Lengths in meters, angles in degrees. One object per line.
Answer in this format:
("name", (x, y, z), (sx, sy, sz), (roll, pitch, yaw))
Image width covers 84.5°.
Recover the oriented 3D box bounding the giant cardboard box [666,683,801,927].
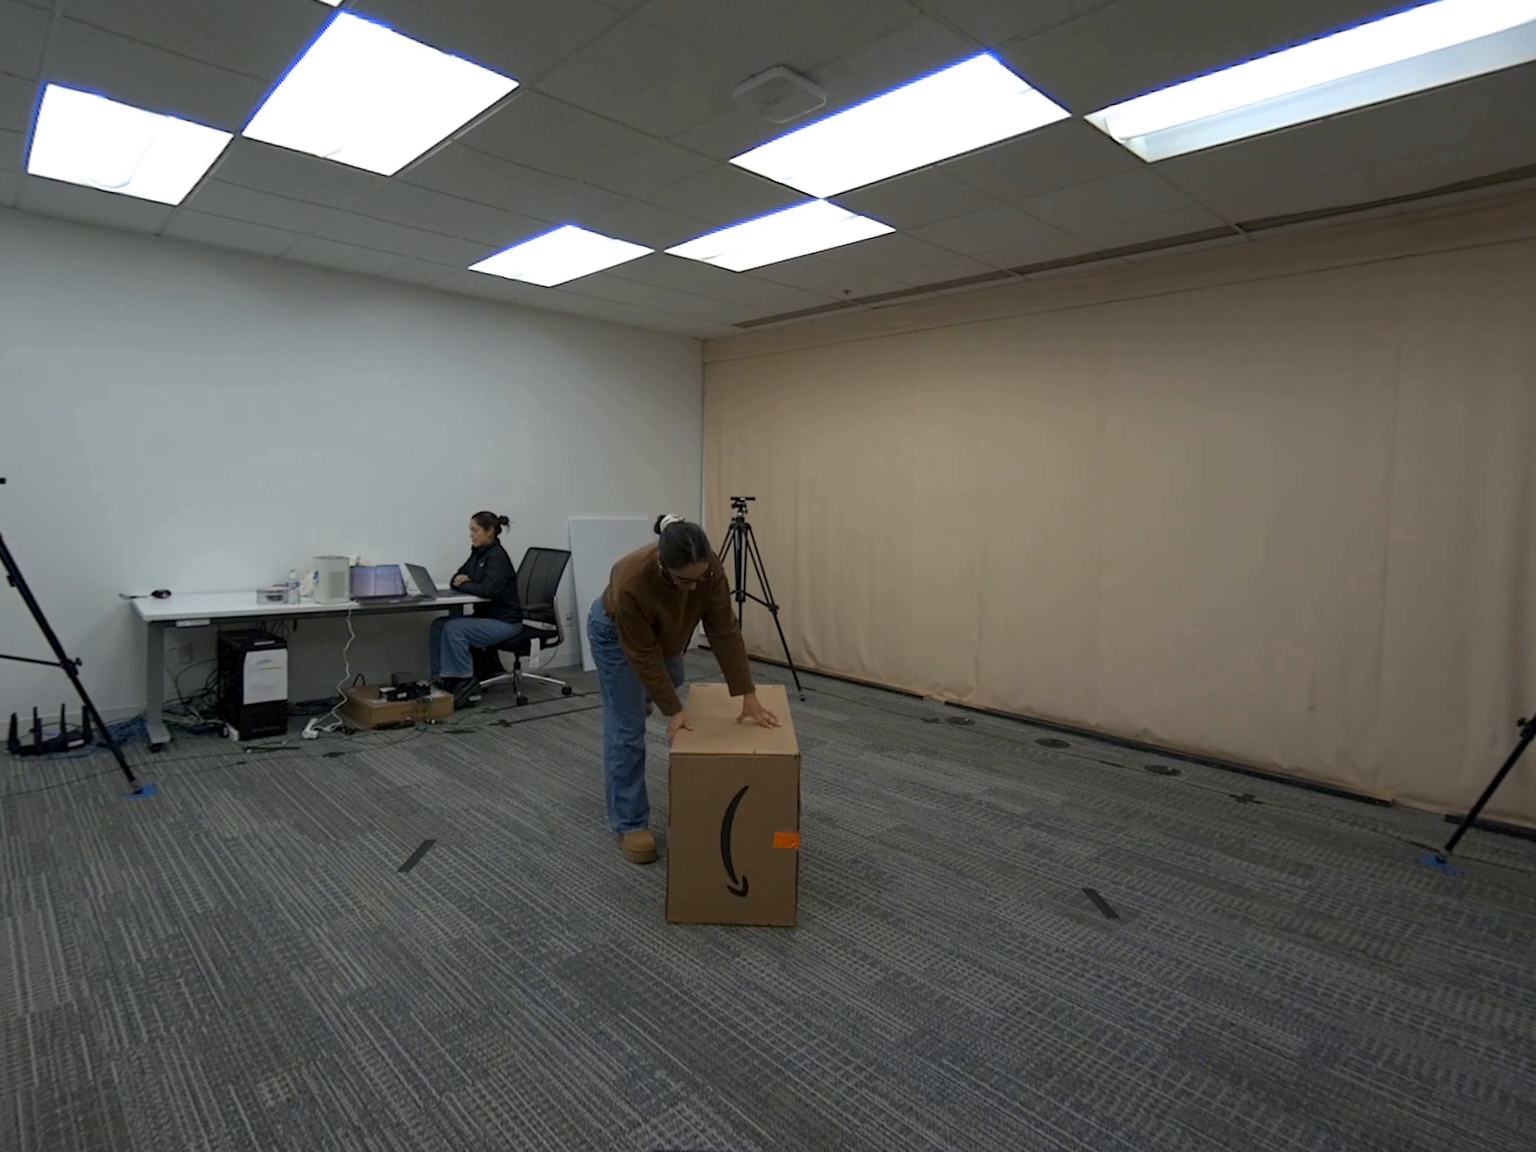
("giant cardboard box", (-0.130, 0.808, 3.230), (0.447, 0.582, 1.030), (0, 5, -1))
